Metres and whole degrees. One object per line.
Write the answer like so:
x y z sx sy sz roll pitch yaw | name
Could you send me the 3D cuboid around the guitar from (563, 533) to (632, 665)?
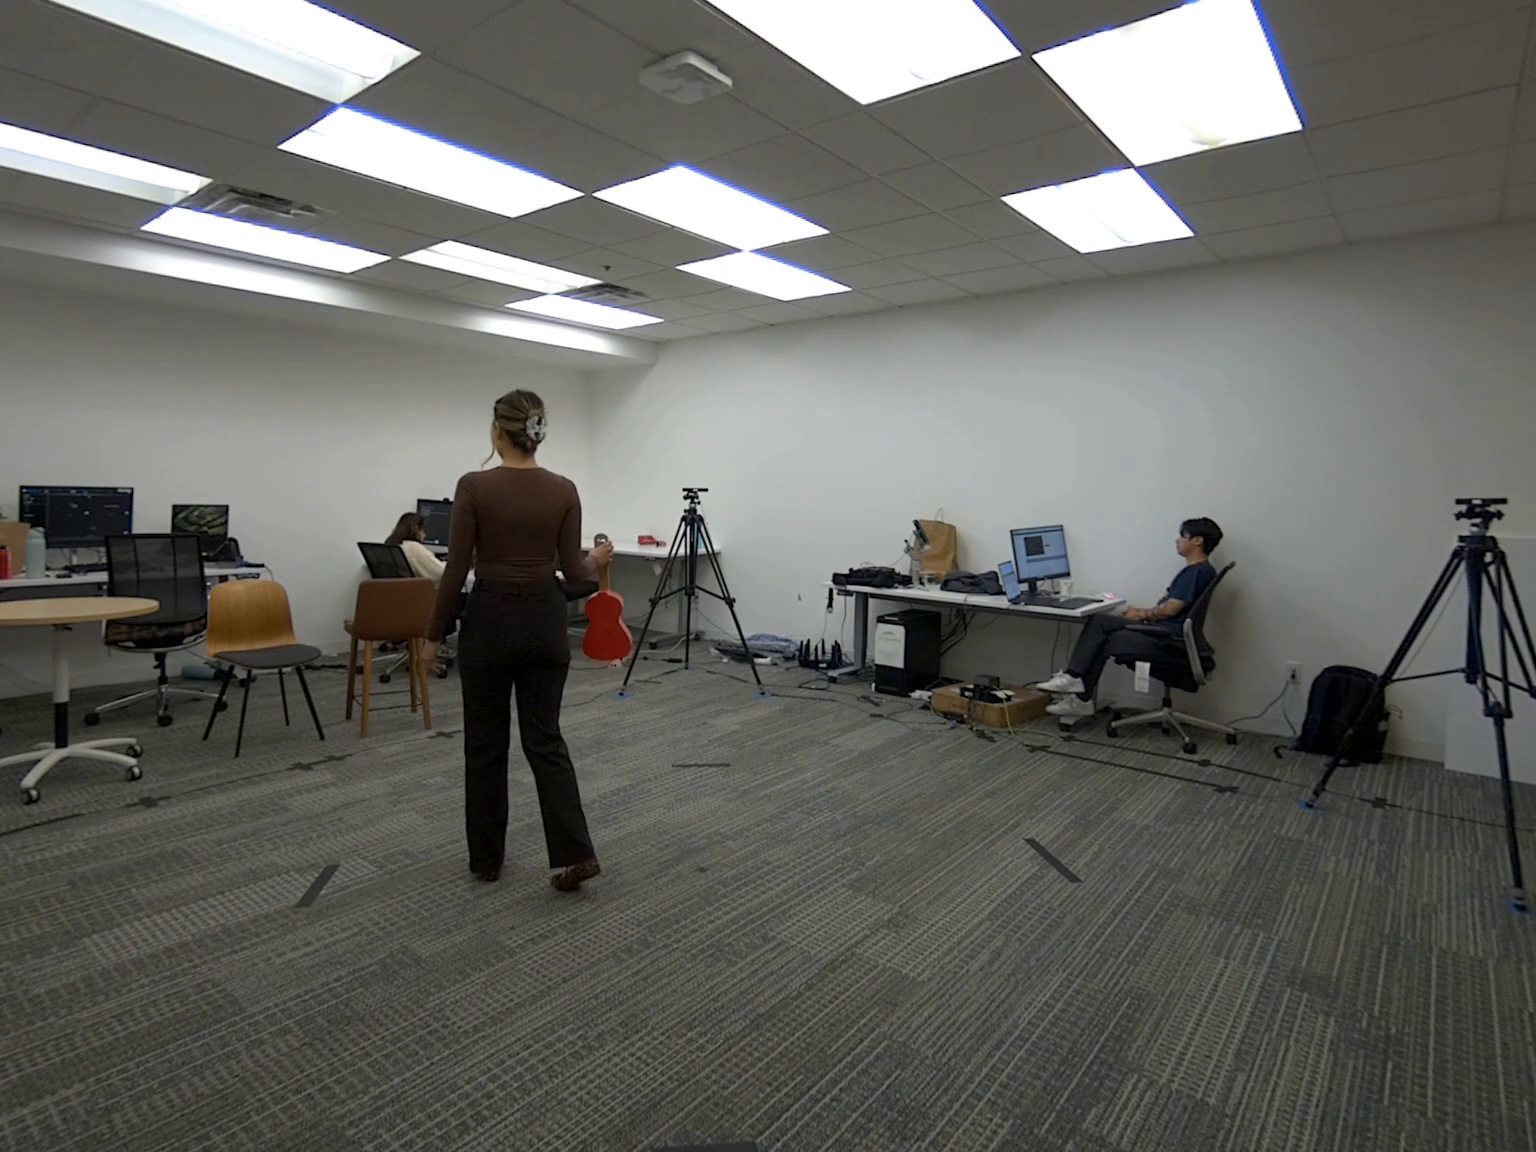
-0.693 0.090 3.356 0.194 0.492 0.071 -9 9 5 | guitar
